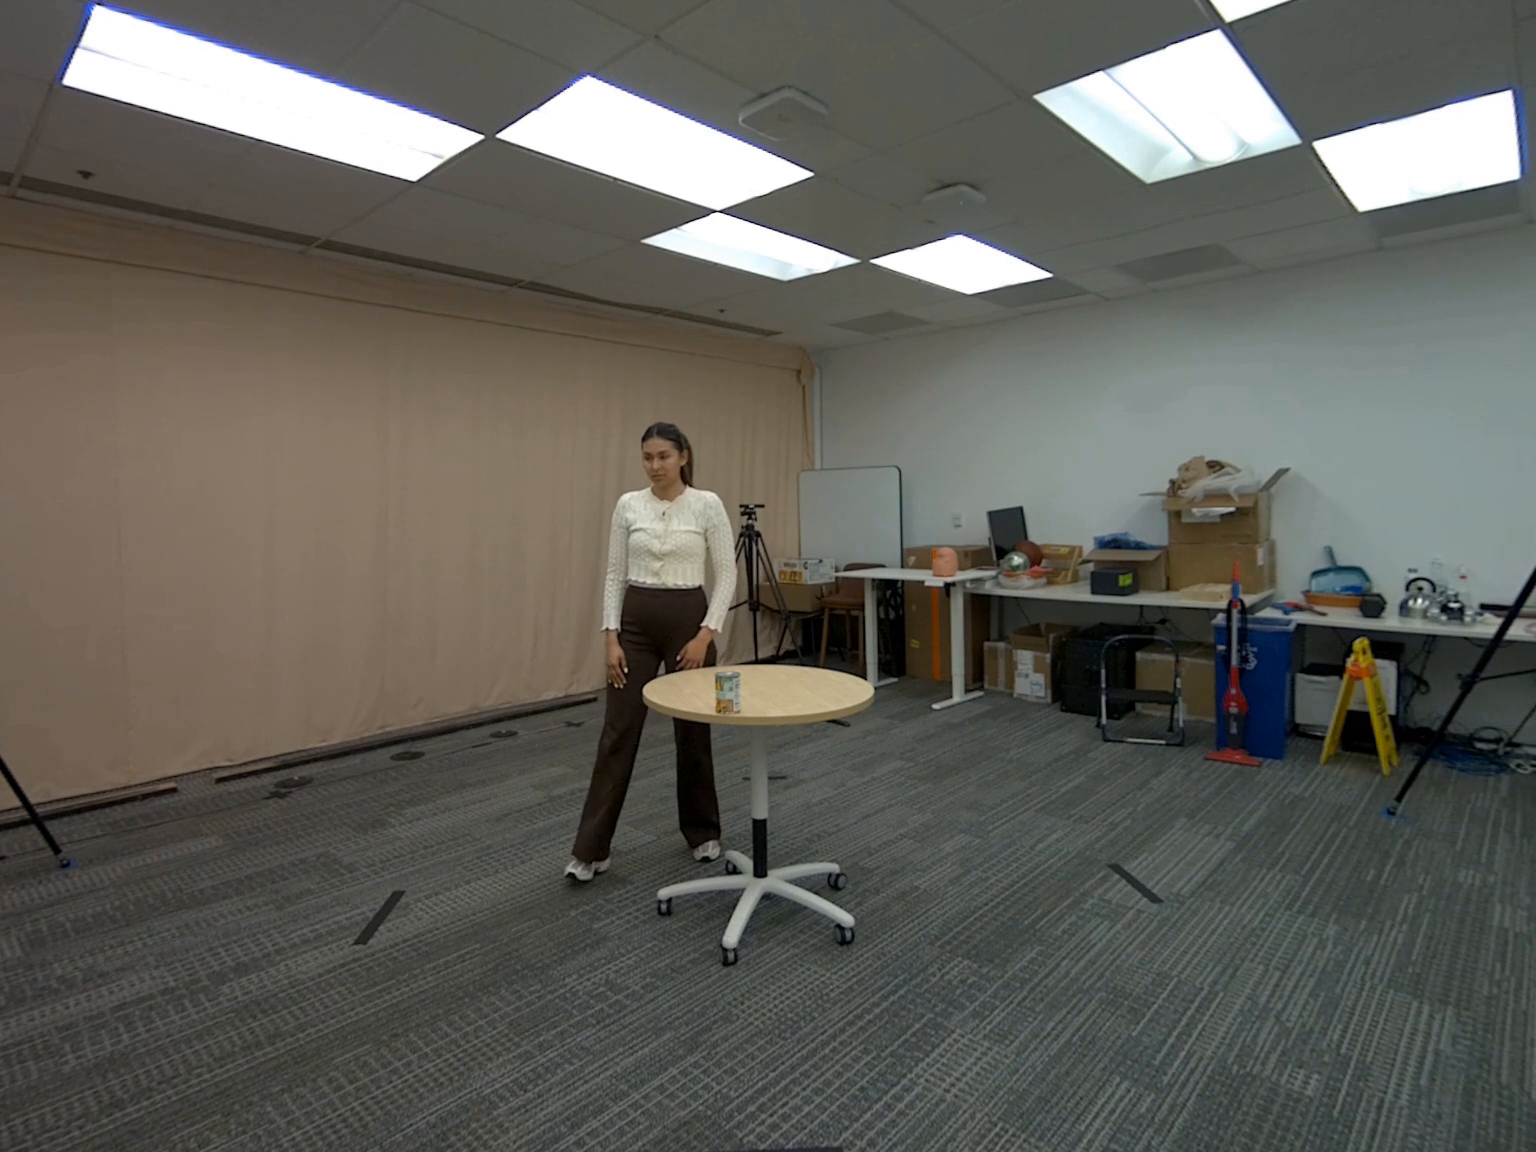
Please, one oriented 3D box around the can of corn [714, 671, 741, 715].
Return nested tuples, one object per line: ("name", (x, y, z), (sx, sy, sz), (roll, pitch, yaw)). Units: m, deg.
("can of corn", (-0.111, 0.347, 2.481), (0.074, 0.110, 0.074), (-4, 5, -1))
